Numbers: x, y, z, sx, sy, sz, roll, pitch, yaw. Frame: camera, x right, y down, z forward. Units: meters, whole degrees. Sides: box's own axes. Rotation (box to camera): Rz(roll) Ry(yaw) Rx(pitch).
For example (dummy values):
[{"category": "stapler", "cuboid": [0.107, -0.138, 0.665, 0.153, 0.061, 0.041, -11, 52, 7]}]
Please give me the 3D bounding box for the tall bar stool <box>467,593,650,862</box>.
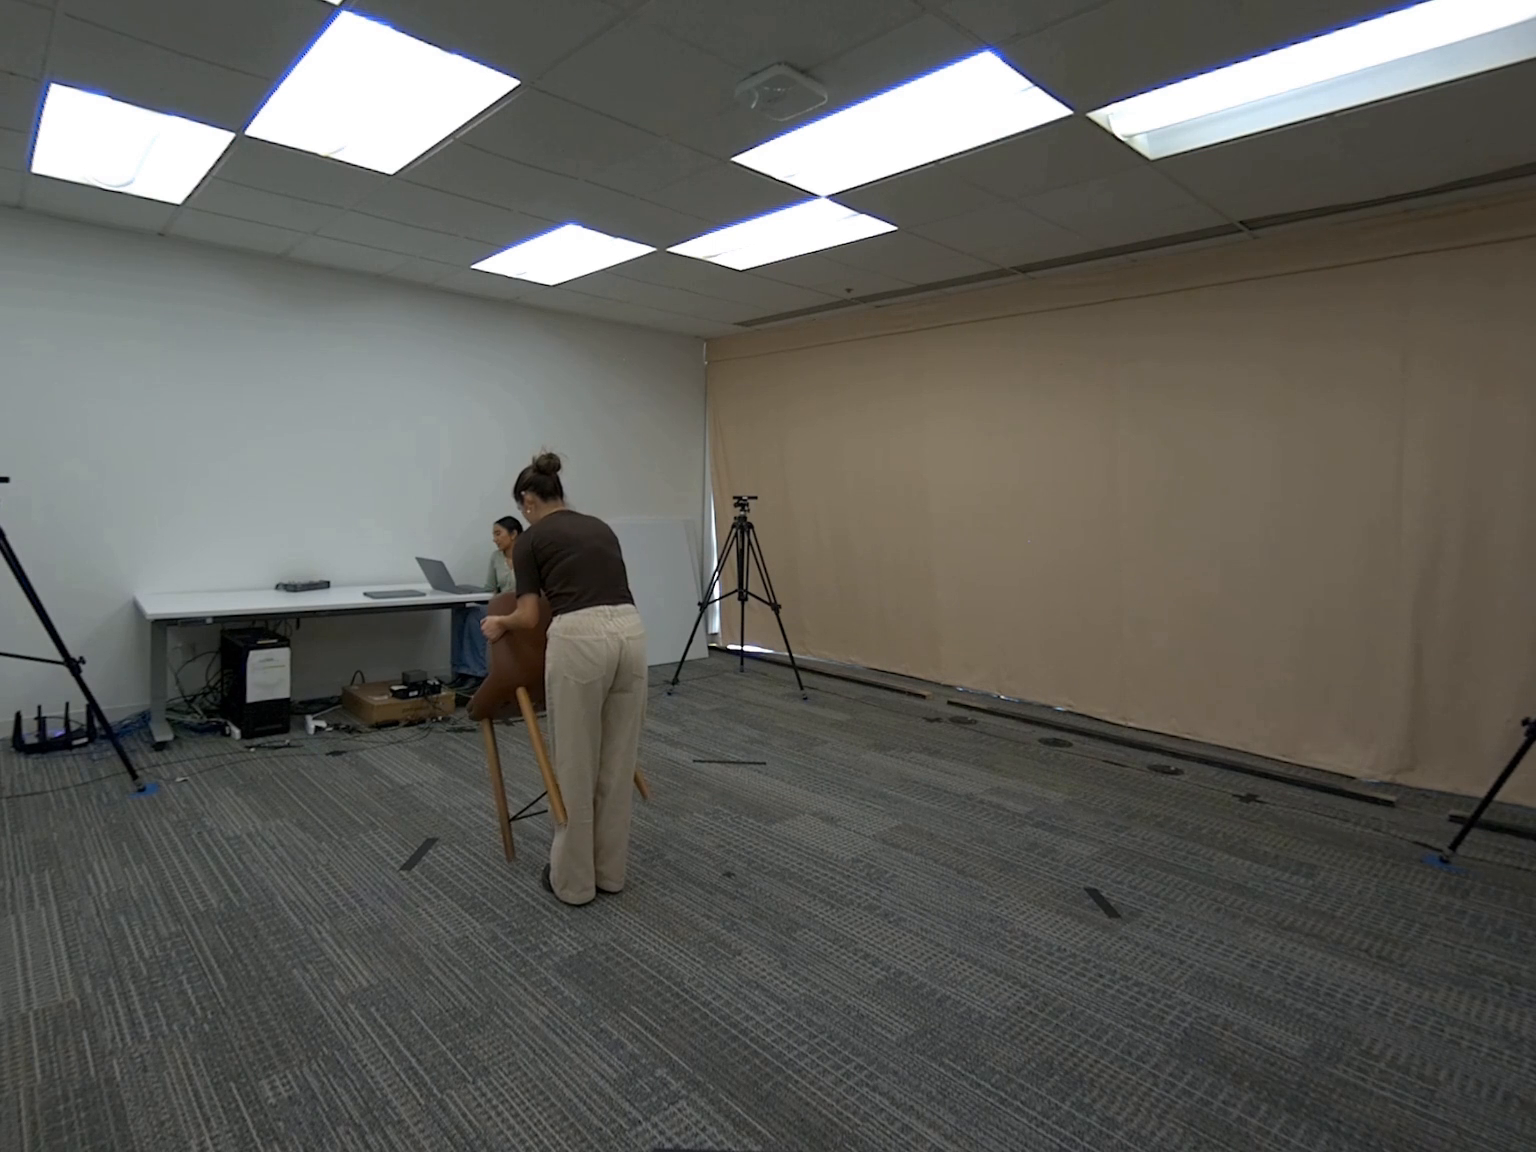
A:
[{"category": "tall bar stool", "cuboid": [-0.852, 0.547, 3.202, 0.446, 0.907, 0.469, -5, -27, -41]}]
